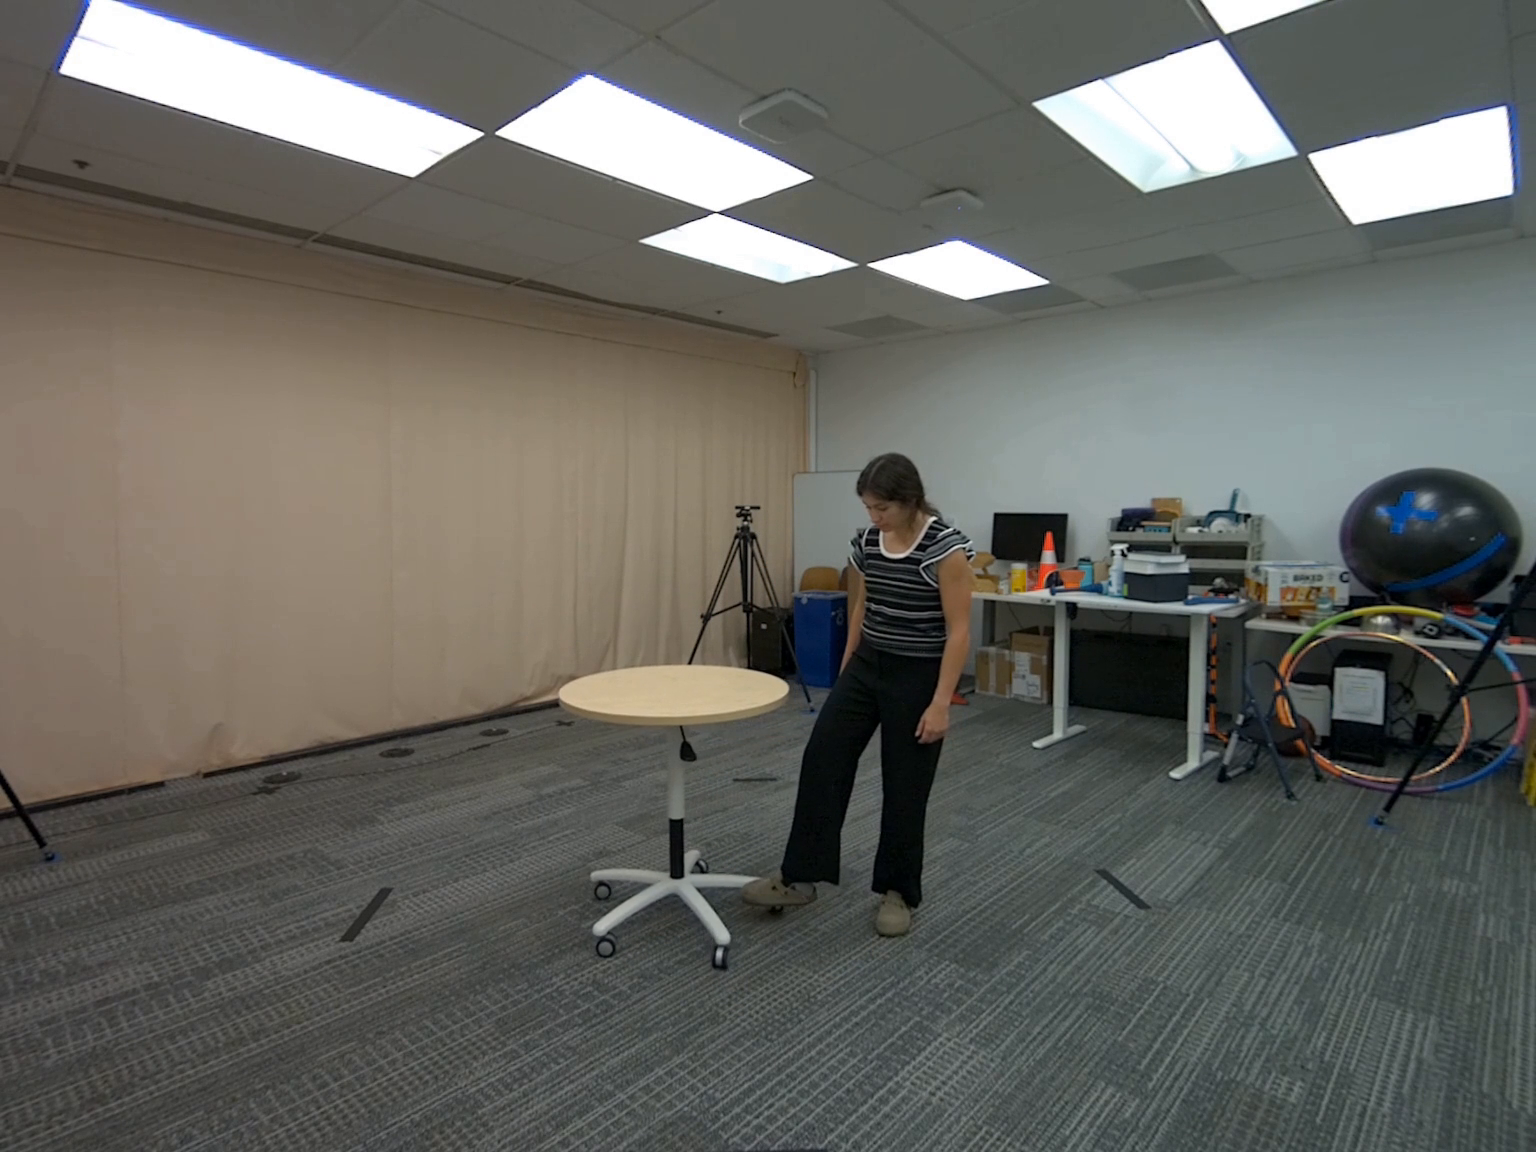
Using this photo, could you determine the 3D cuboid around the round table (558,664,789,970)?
[{"bbox_3d":[-0.301,0.764,2.847,0.784,0.784,0.788,0,4,-2],"label":"round table"}]
